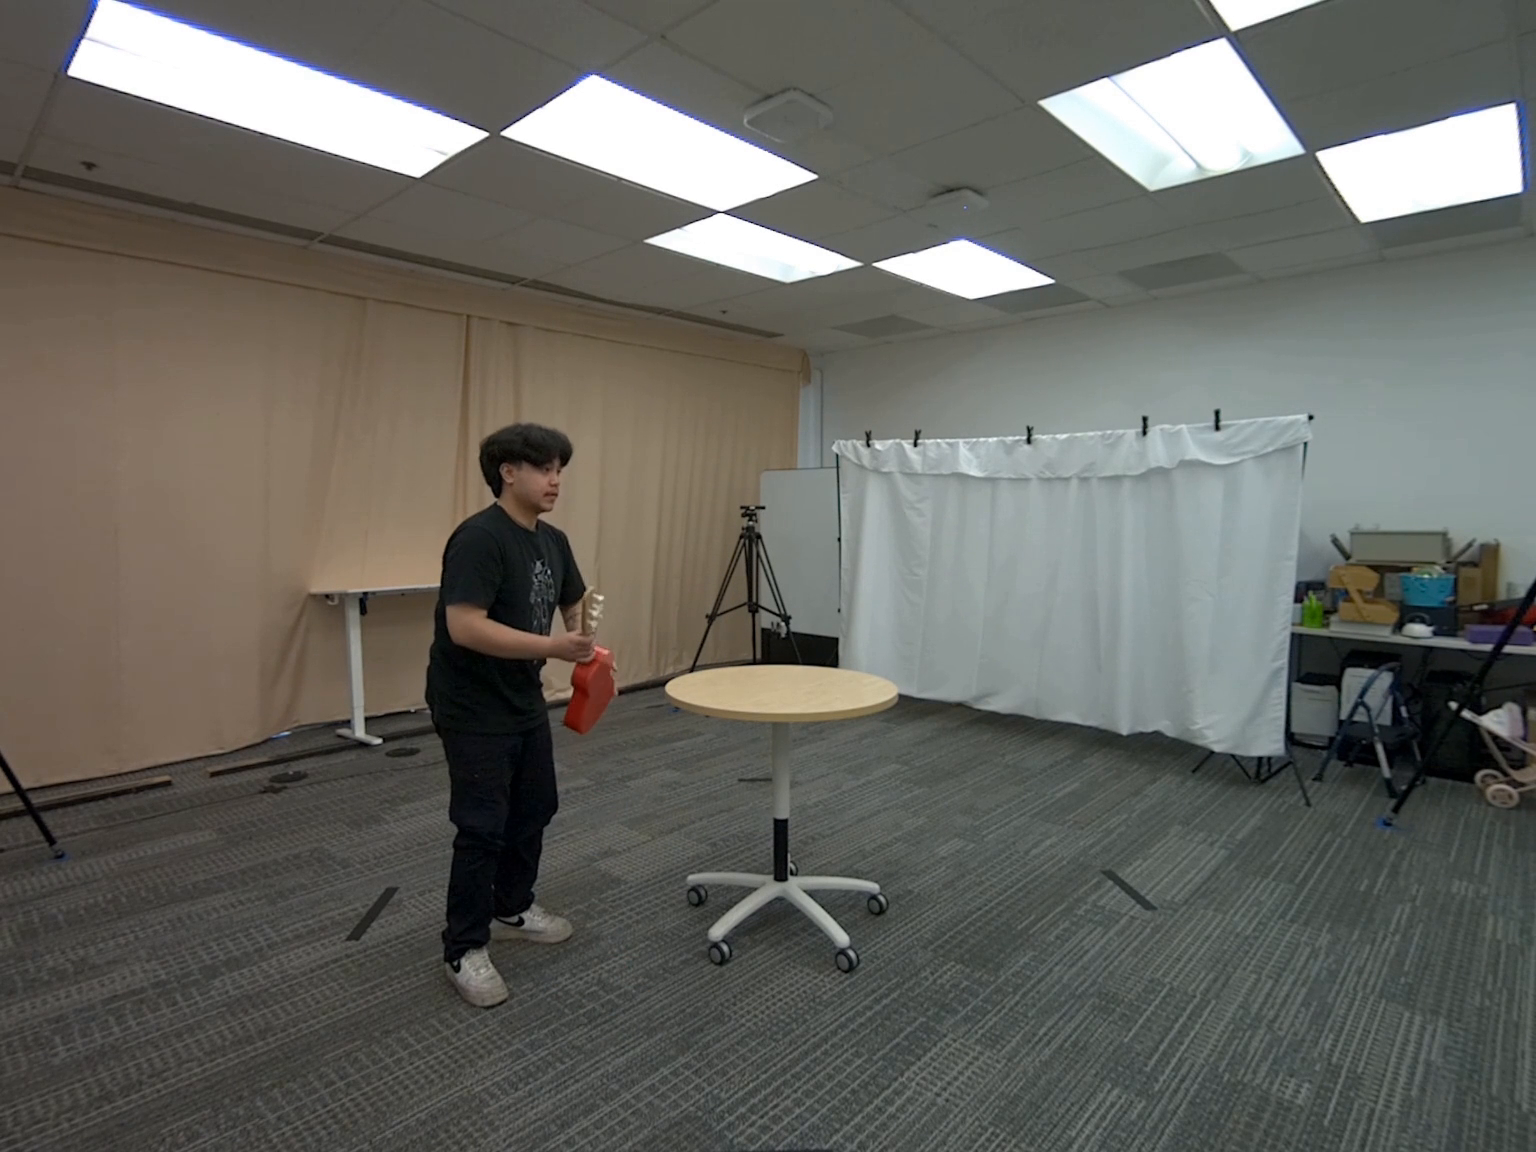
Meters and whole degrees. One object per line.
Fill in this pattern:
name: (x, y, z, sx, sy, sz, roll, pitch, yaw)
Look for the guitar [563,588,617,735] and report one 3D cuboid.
guitar: (-0.515, 0.276, 2.350, 0.072, 0.490, 0.193, 20, 48, 12)
